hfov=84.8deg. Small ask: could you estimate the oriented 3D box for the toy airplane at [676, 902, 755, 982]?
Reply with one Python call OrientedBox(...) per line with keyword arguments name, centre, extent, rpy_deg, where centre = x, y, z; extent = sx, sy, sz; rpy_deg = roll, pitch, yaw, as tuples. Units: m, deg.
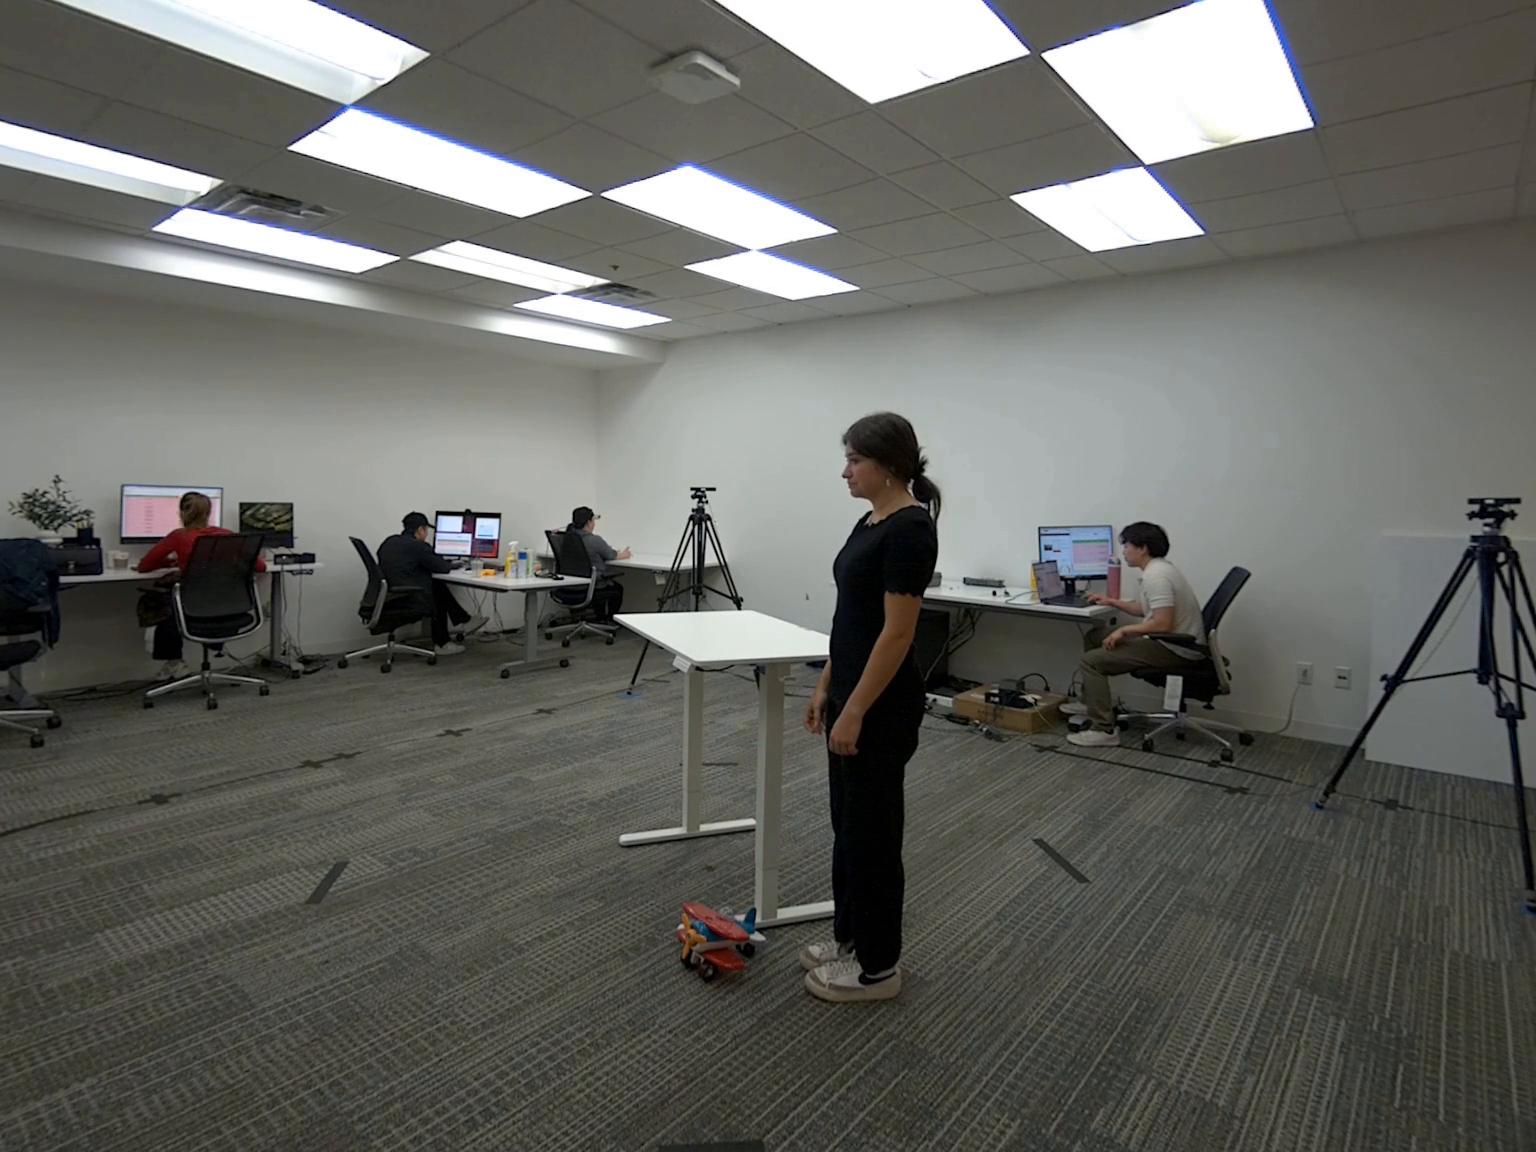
OrientedBox(name="toy airplane", centre=(-0.154, 1.053, 2.502), extent=(0.257, 0.155, 0.255), rpy_deg=(3, 7, 20))
